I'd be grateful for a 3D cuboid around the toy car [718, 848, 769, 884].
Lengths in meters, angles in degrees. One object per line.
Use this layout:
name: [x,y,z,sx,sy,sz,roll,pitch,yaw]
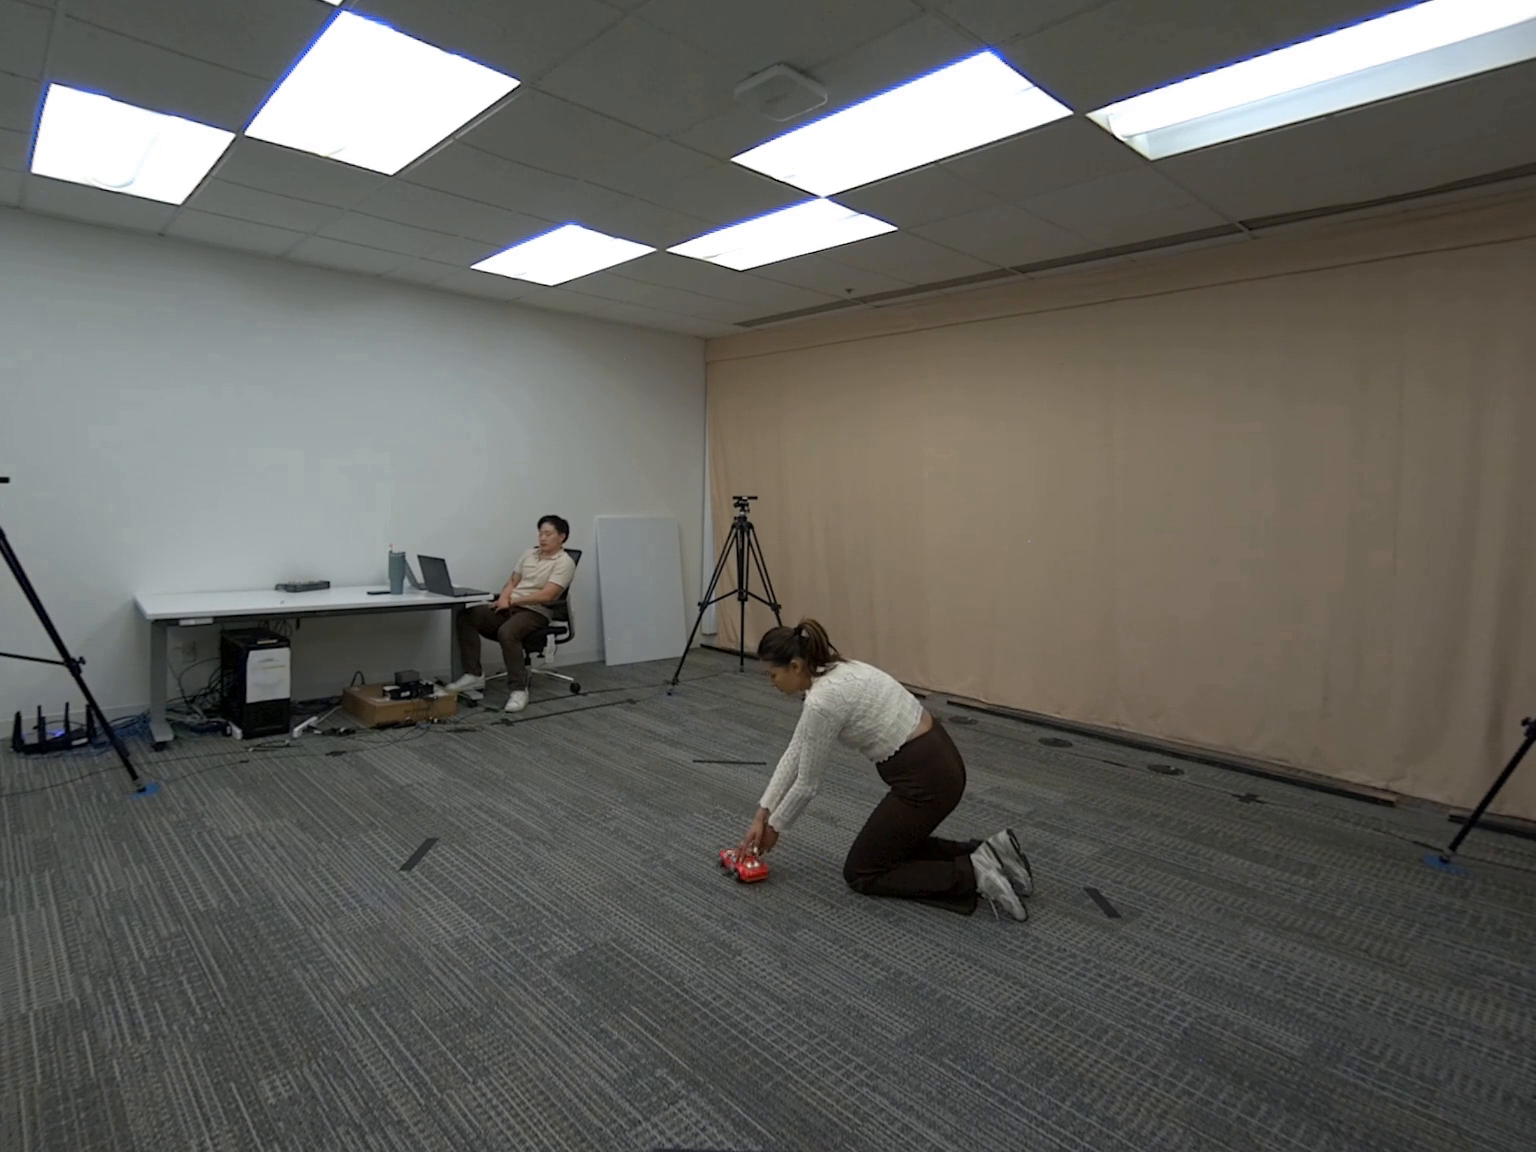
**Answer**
toy car: [-0.090,1.064,3.113,0.128,0.083,0.258,-1,-5,-28]
